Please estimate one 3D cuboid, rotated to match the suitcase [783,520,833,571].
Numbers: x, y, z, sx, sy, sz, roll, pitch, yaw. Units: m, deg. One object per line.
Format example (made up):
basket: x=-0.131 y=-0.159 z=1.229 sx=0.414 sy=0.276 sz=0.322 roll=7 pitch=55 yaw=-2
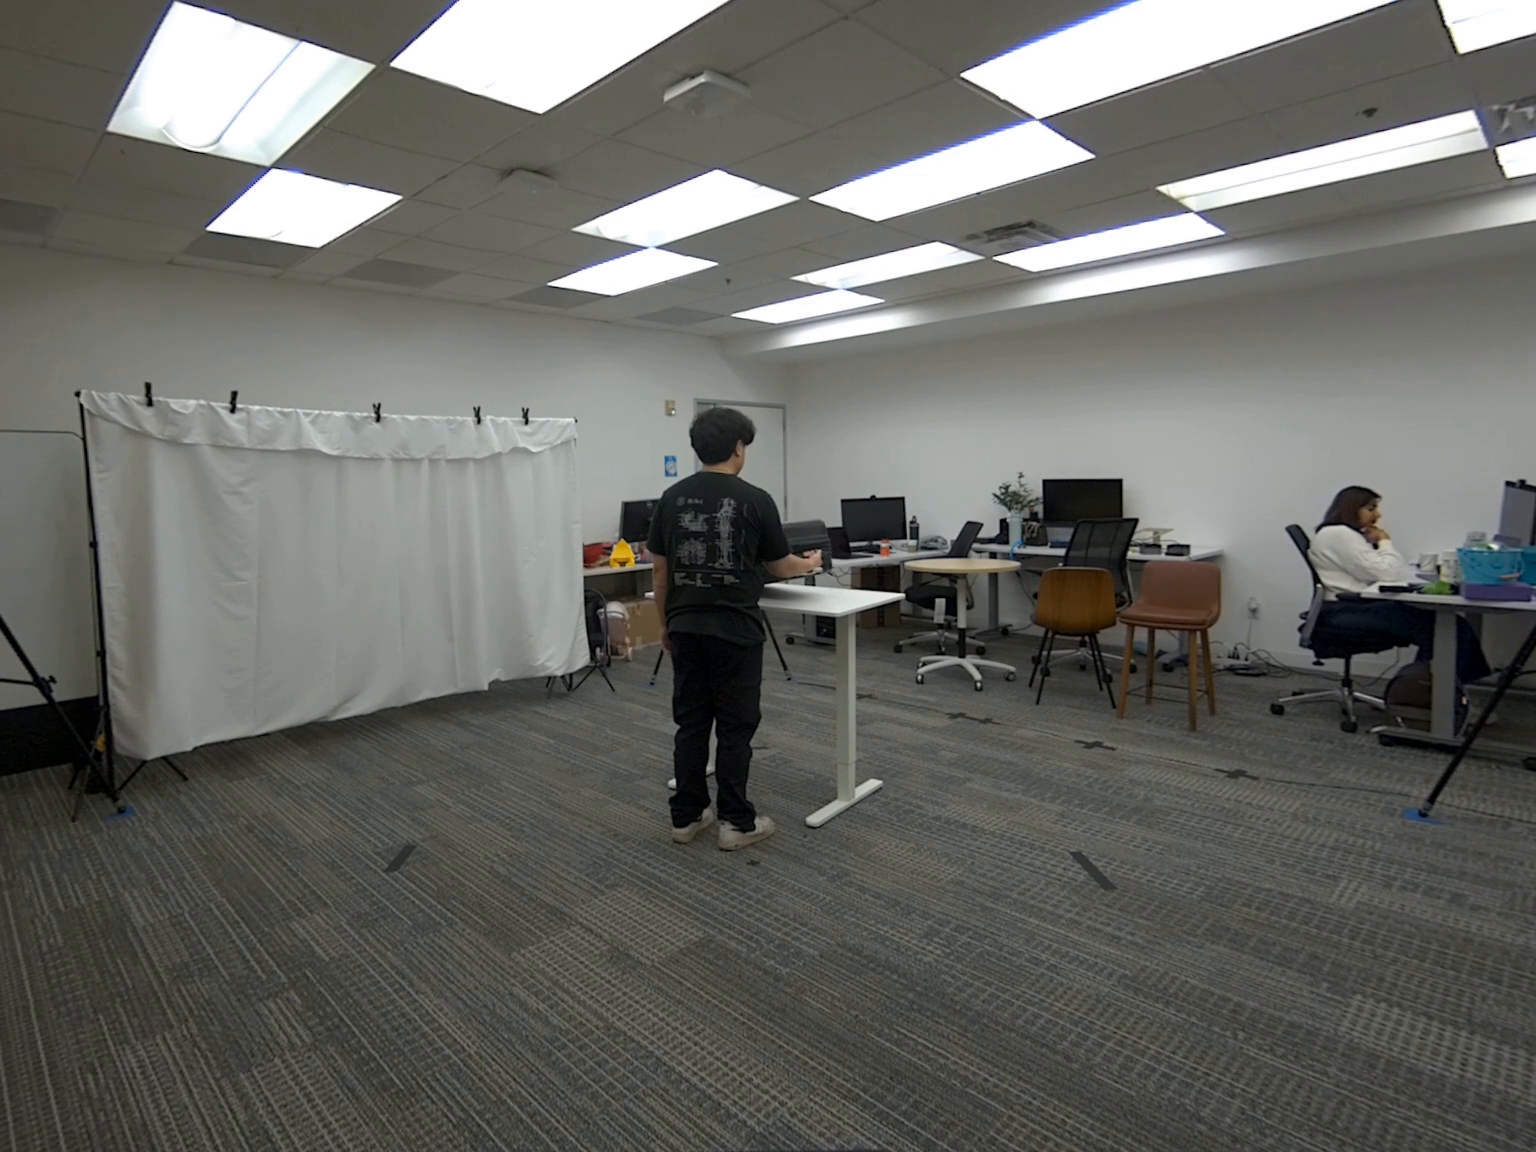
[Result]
suitcase: x=0.003 y=-0.090 z=3.824 sx=0.366 sy=0.249 sz=0.561 roll=-7 pitch=-4 yaw=-39
